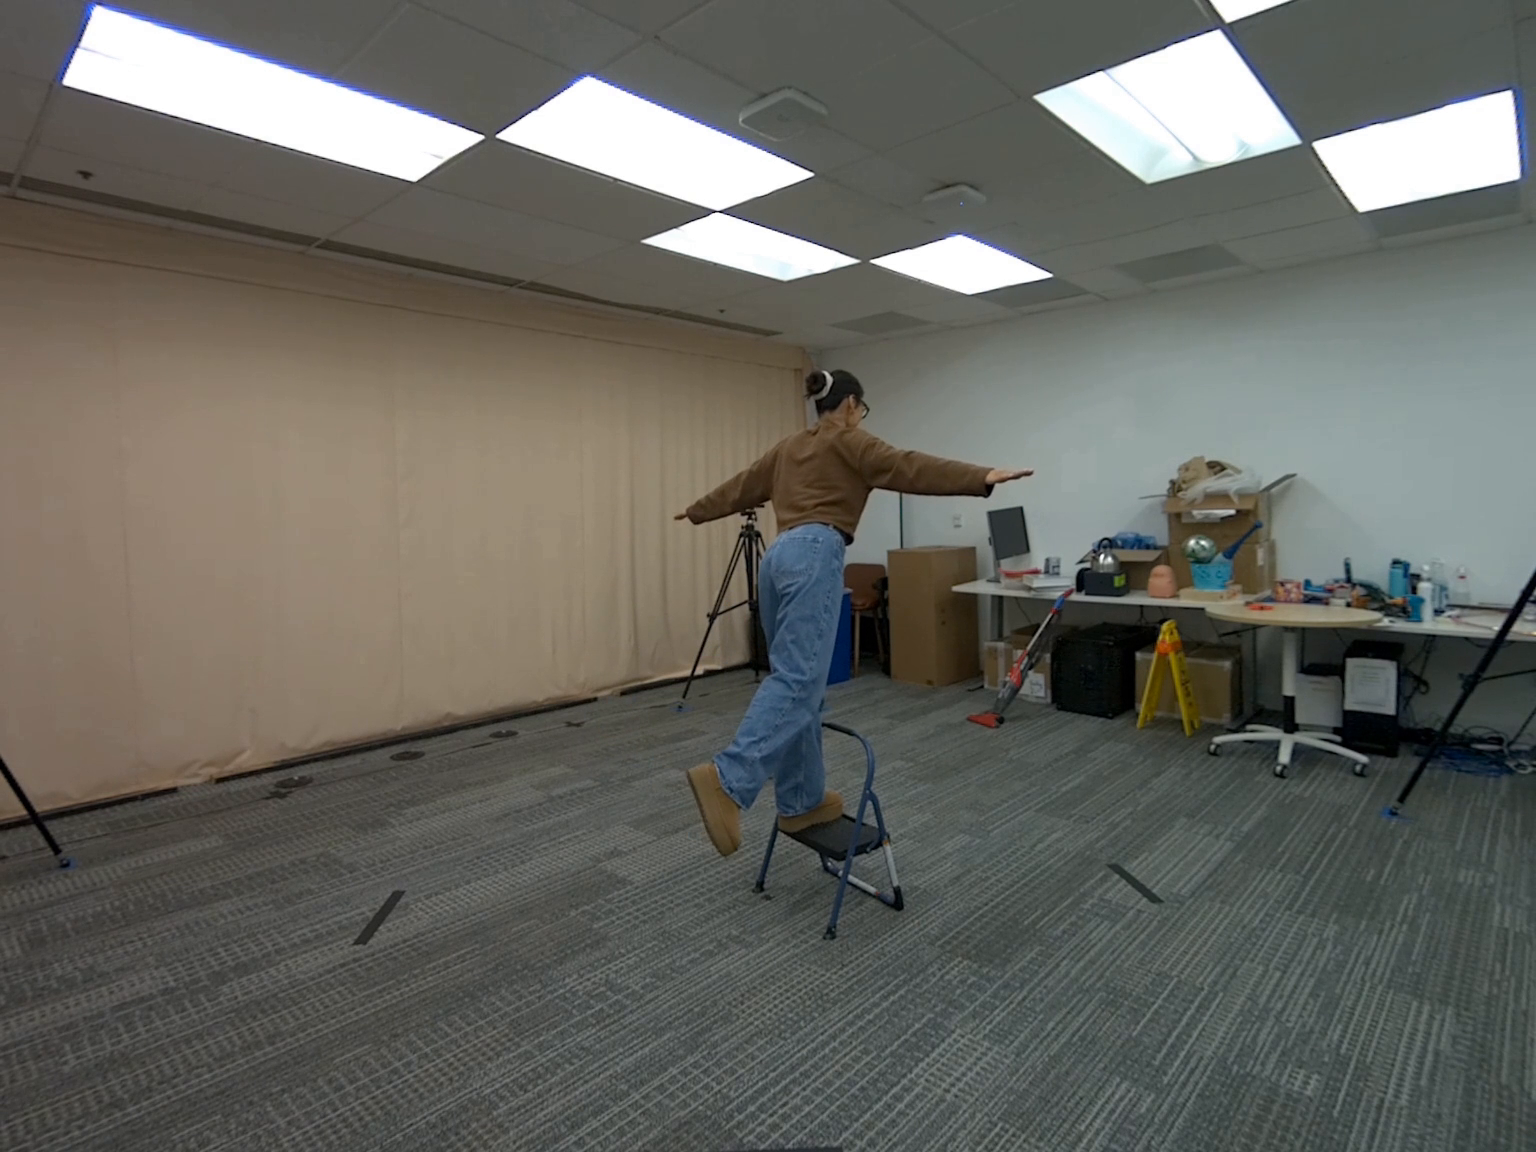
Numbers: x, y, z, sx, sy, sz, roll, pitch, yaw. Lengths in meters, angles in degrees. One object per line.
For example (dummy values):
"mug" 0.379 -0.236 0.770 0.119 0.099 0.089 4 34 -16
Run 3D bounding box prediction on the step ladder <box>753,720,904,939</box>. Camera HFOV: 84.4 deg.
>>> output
"step ladder" 0.209 0.838 2.938 0.339 0.605 0.444 -3 4 -36
